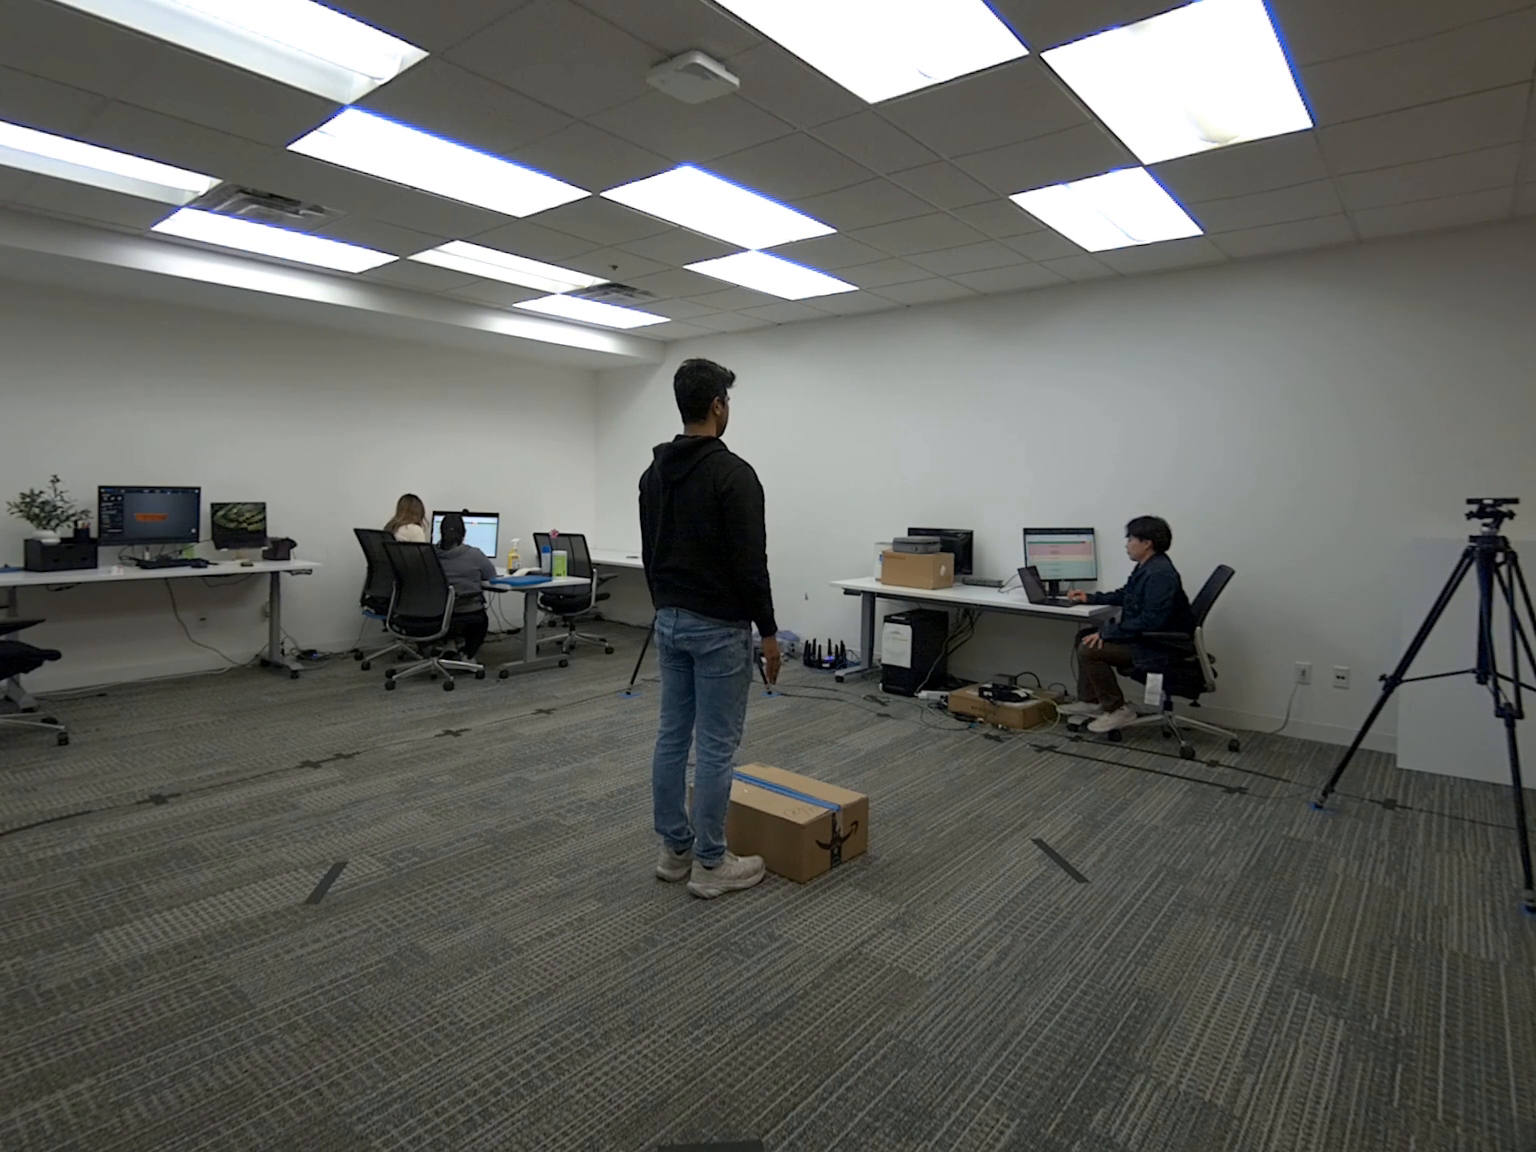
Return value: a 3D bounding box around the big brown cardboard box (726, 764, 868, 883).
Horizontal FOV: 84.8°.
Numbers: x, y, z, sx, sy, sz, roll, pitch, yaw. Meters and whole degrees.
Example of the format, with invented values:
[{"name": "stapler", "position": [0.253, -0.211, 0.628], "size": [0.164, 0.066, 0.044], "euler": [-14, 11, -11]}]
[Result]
[{"name": "big brown cardboard box", "position": [0.026, 0.937, 3.327], "size": [0.609, 0.232, 0.405], "euler": [6, 7, 40]}]
